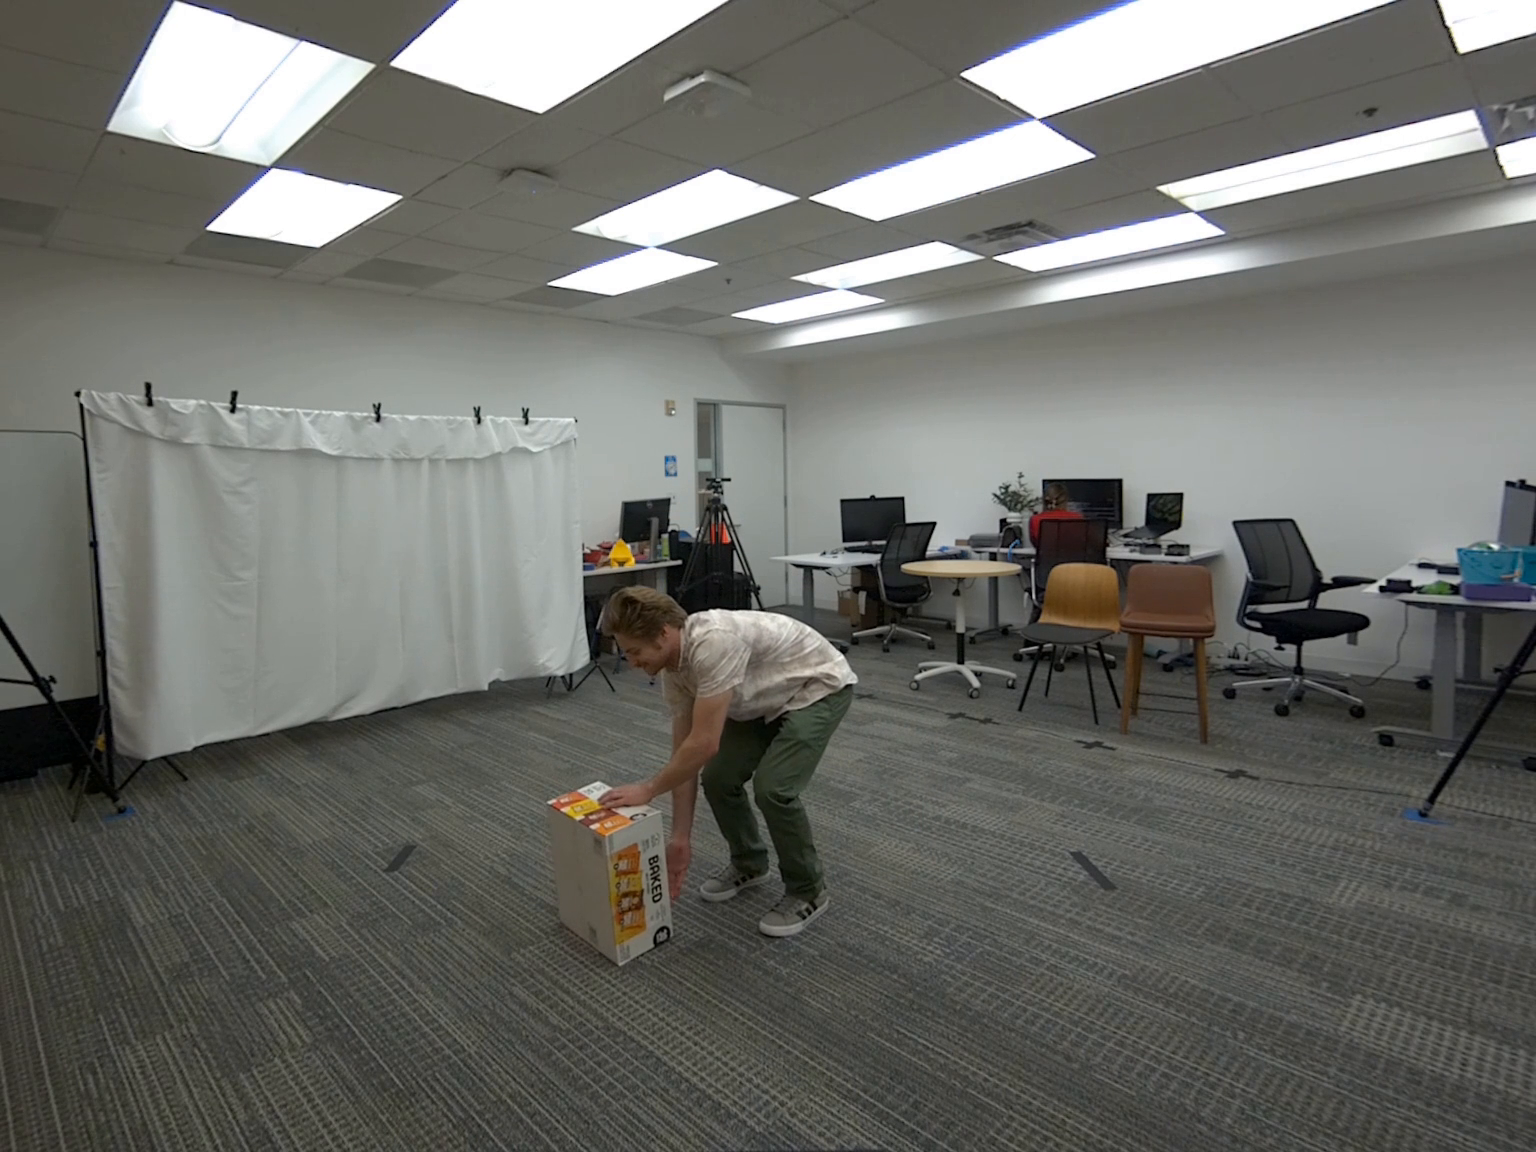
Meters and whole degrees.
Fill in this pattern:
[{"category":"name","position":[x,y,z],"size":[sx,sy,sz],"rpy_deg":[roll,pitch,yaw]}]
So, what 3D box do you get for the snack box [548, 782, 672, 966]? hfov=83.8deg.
[{"category":"snack box","position":[-0.491,0.898,2.625],"size":[0.201,0.402,0.351],"rpy_deg":[-11,11,-41]}]
